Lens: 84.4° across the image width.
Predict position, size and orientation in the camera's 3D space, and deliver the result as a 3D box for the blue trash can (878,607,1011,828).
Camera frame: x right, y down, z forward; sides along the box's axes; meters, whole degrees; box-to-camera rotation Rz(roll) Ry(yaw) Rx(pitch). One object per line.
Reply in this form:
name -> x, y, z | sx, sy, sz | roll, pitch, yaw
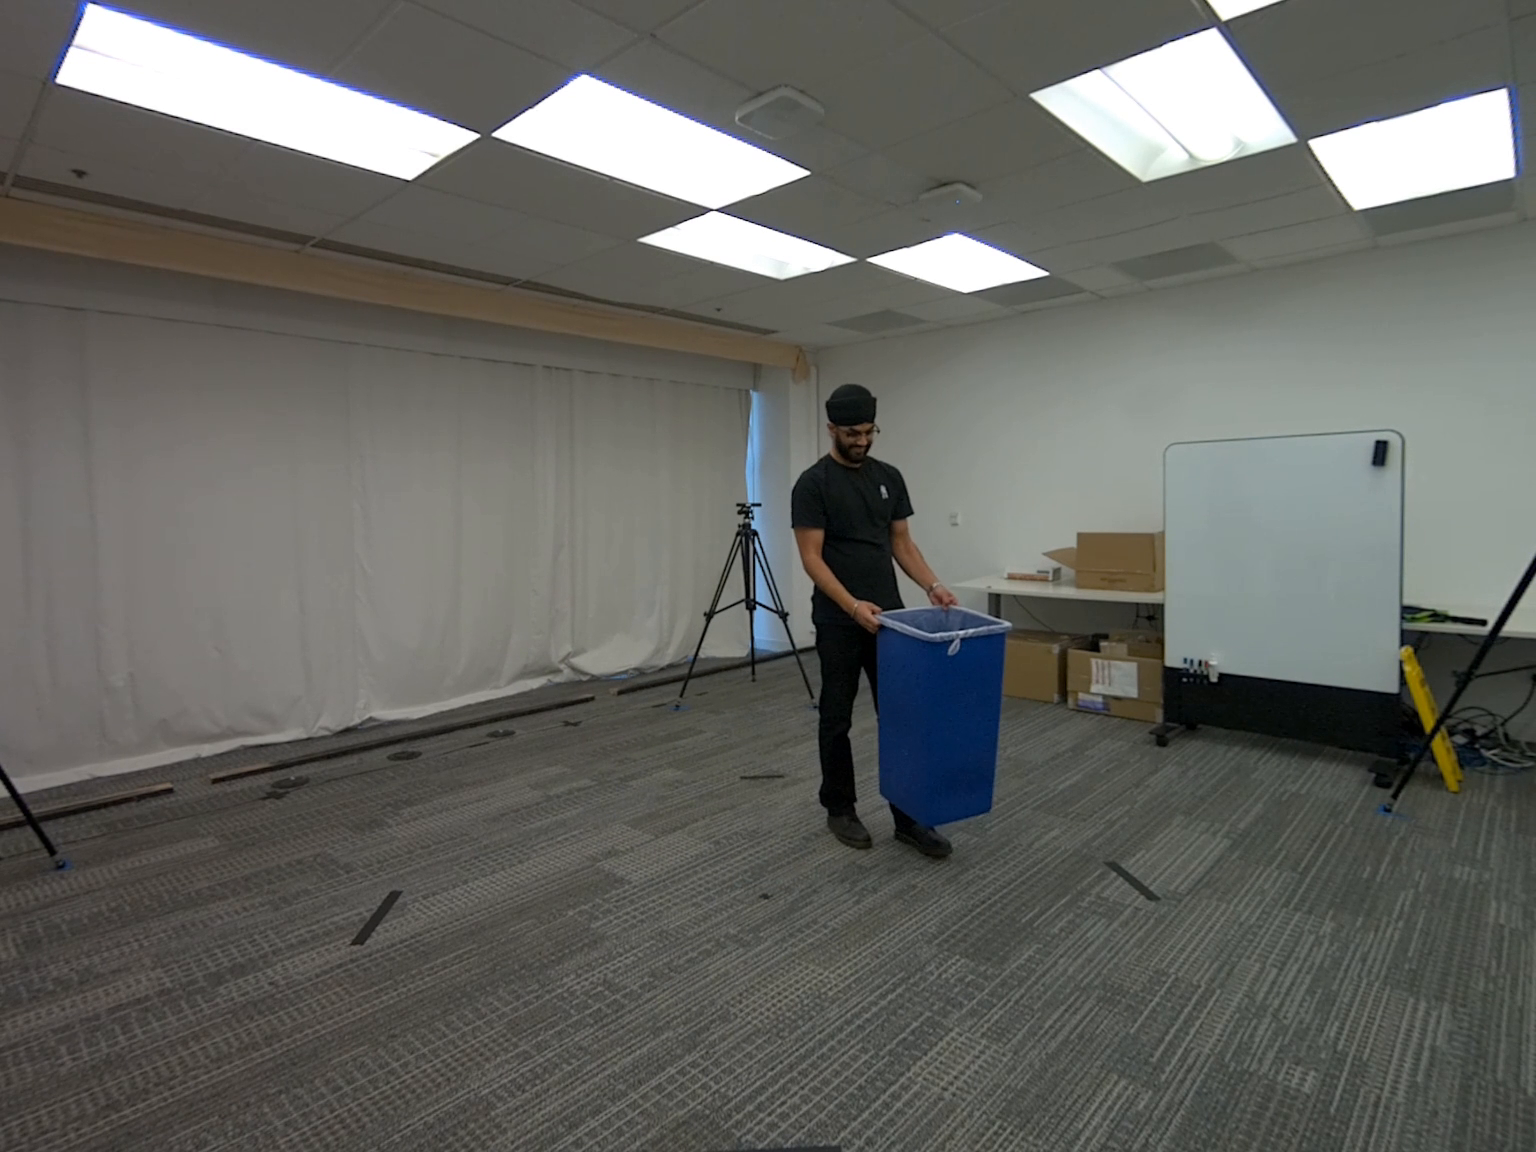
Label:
blue trash can -> 0.624, 0.505, 3.124 | 0.369, 0.709, 0.385 | -4, 11, -26
